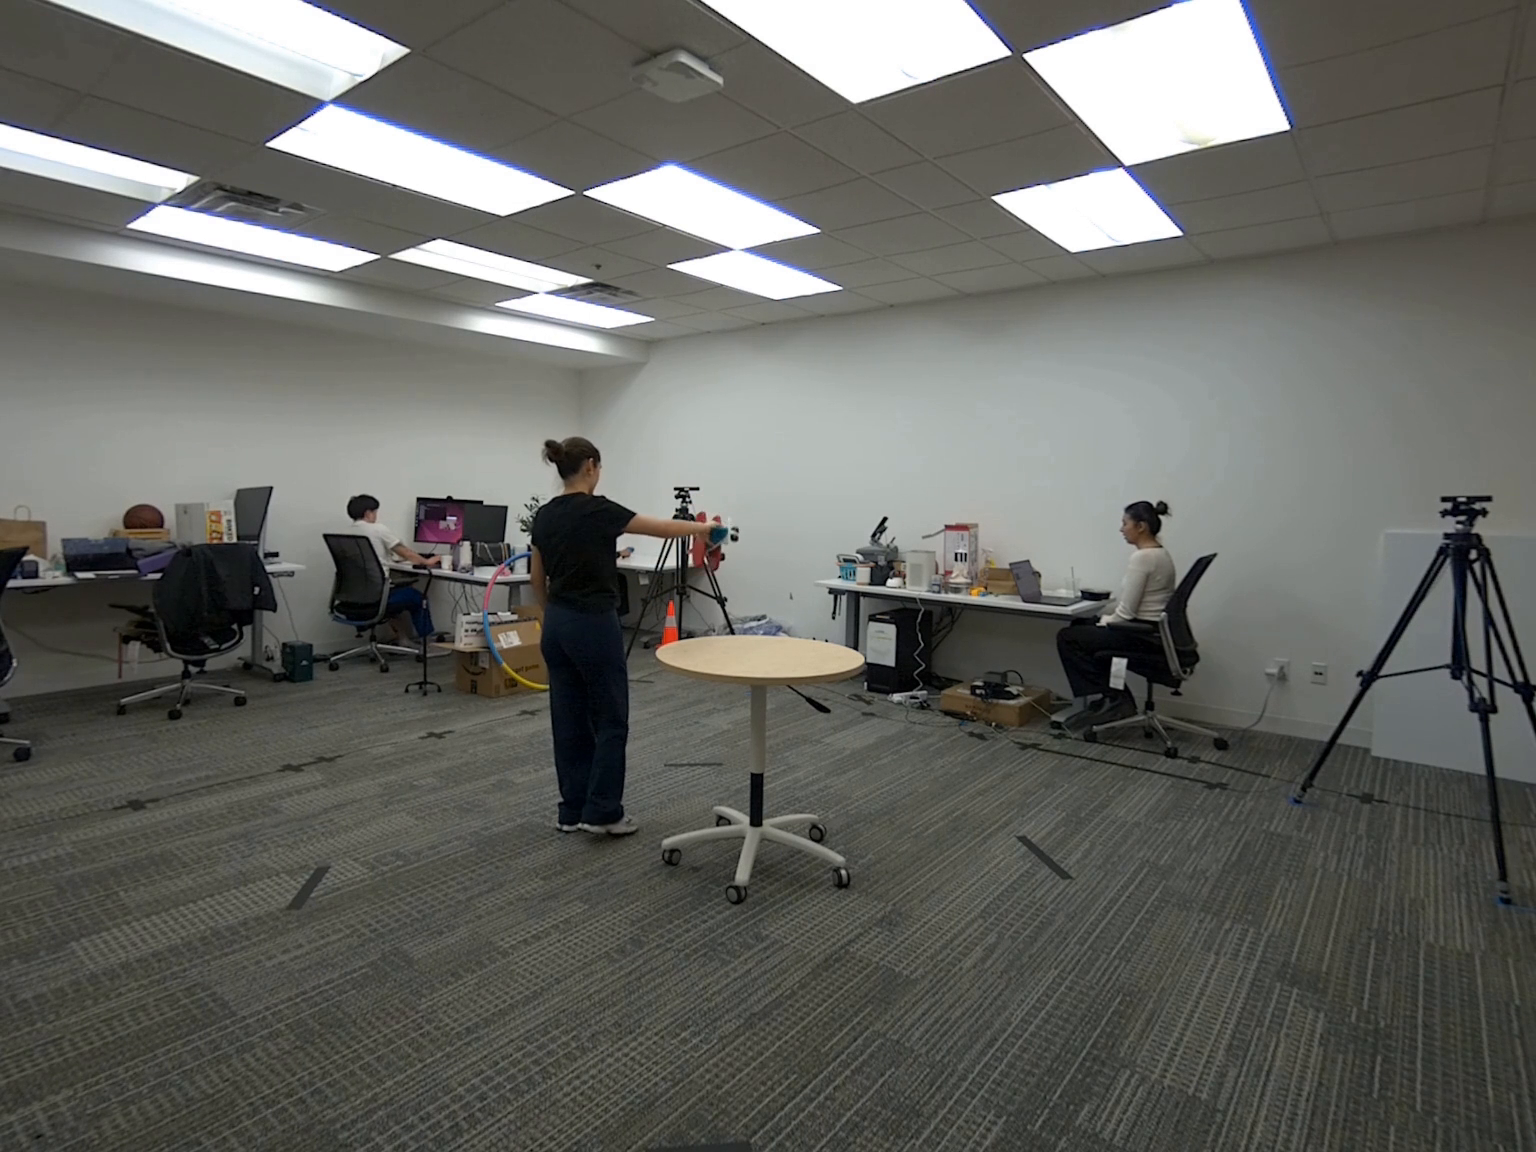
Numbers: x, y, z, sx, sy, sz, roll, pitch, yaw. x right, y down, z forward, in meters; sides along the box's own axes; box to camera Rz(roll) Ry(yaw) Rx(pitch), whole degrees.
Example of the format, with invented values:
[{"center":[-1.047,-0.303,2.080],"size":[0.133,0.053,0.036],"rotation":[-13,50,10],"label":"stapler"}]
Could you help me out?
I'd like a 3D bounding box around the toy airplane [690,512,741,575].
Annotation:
[{"center":[-0.219,-0.185,3.658],"size":[0.153,0.255,0.259],"rotation":[10,39,-17],"label":"toy airplane"}]
